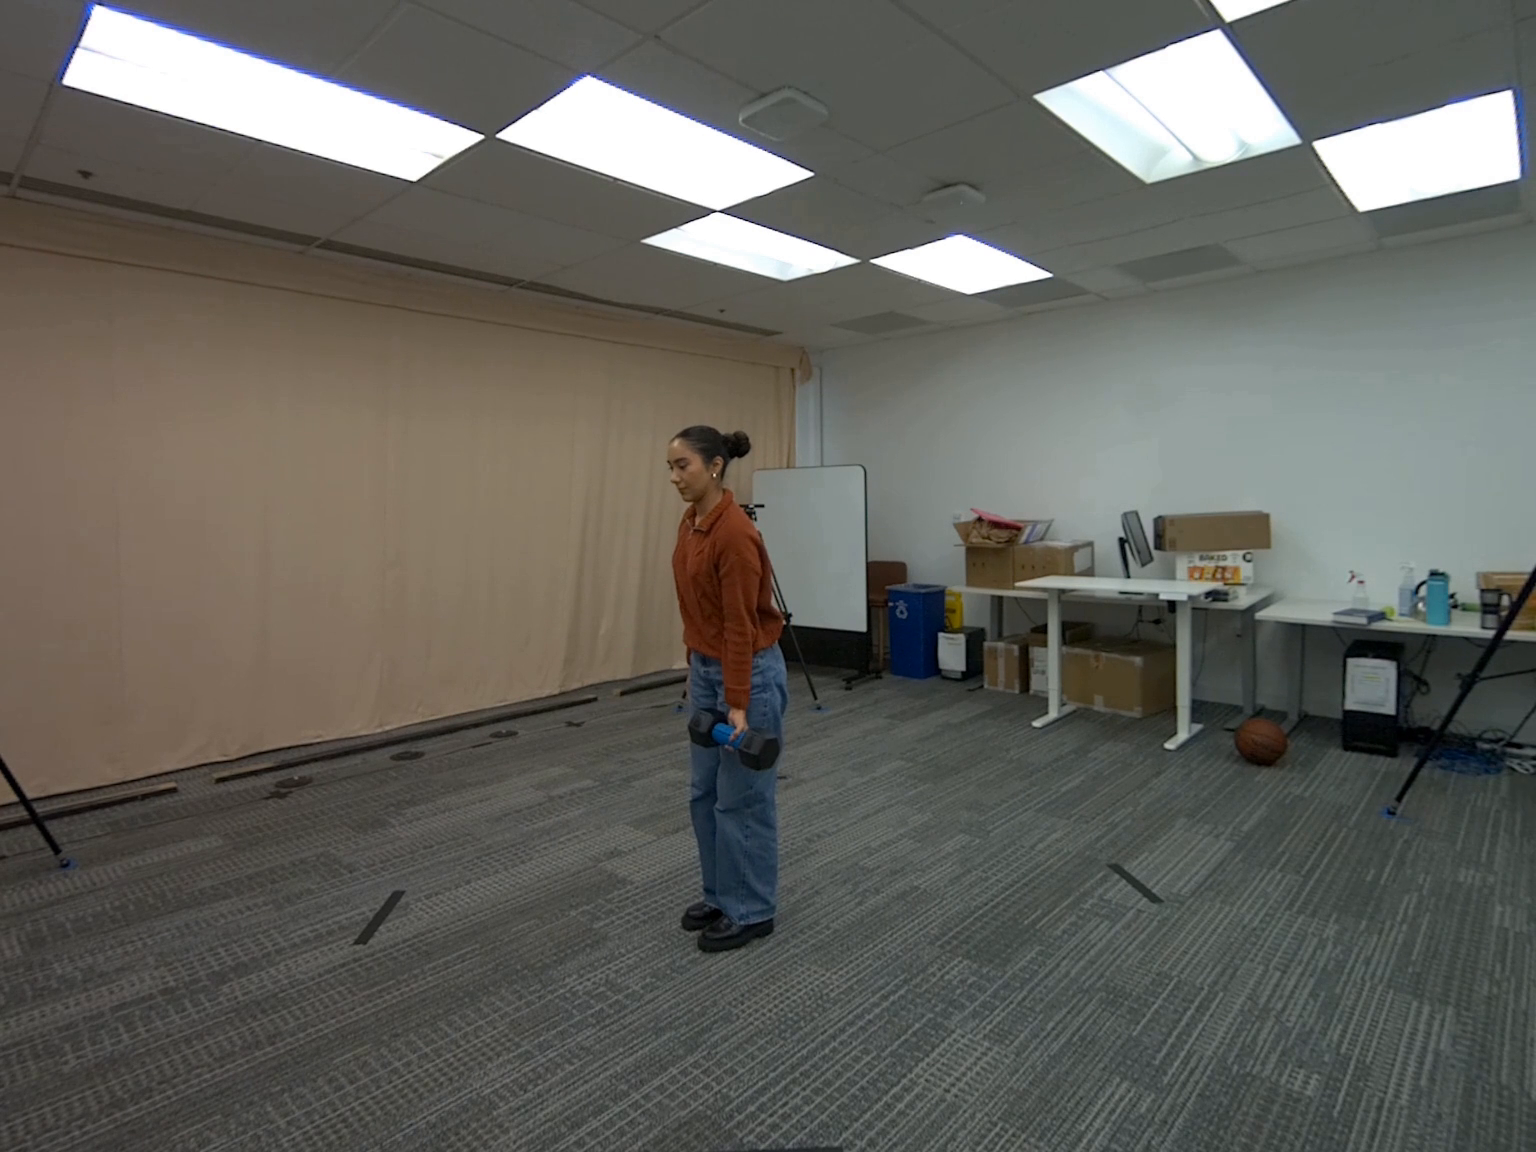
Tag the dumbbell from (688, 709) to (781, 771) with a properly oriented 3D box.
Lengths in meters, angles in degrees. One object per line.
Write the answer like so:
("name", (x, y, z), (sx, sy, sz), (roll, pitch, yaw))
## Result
("dumbbell", (-0.106, 0.477, 2.520), (0.304, 0.121, 0.107), (14, 35, 43))
